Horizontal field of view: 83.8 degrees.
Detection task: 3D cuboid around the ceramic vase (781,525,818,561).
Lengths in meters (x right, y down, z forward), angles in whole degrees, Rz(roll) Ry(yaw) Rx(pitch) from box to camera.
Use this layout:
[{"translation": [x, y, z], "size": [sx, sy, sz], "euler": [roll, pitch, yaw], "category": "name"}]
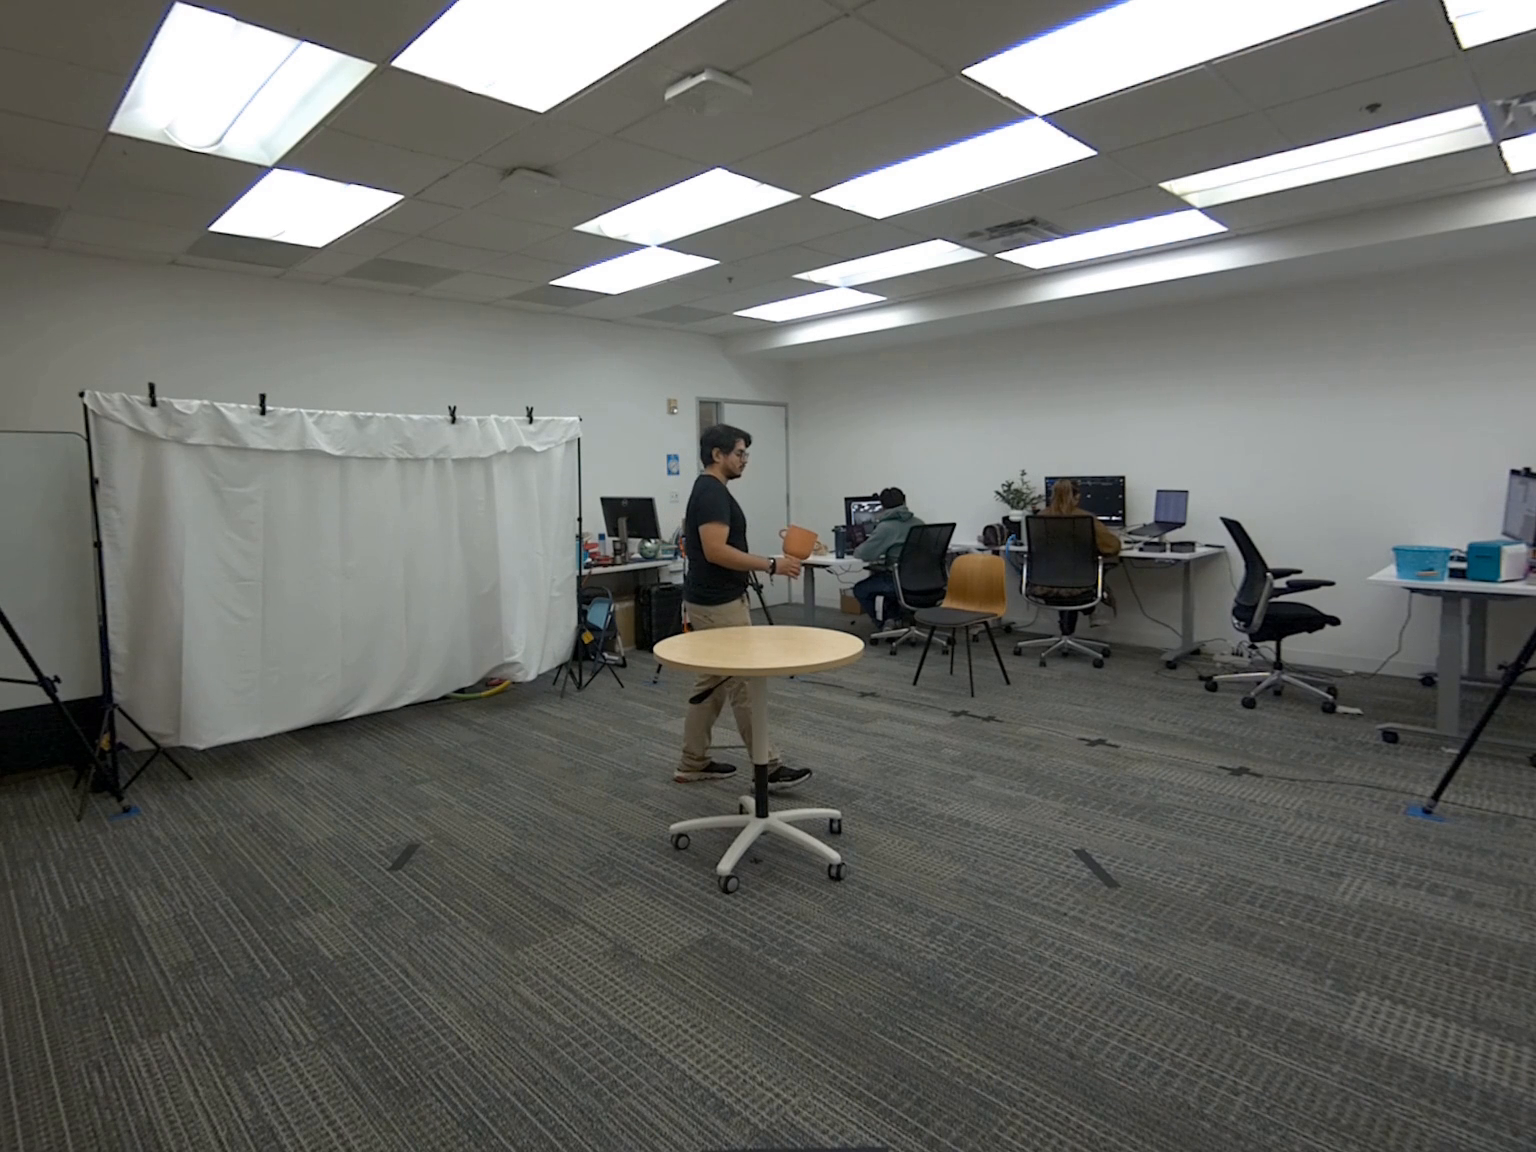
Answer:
[{"translation": [0.125, -0.104, 3.759], "size": [0.130, 0.220, 0.164], "euler": [22, -3, -44], "category": "ceramic vase"}]
